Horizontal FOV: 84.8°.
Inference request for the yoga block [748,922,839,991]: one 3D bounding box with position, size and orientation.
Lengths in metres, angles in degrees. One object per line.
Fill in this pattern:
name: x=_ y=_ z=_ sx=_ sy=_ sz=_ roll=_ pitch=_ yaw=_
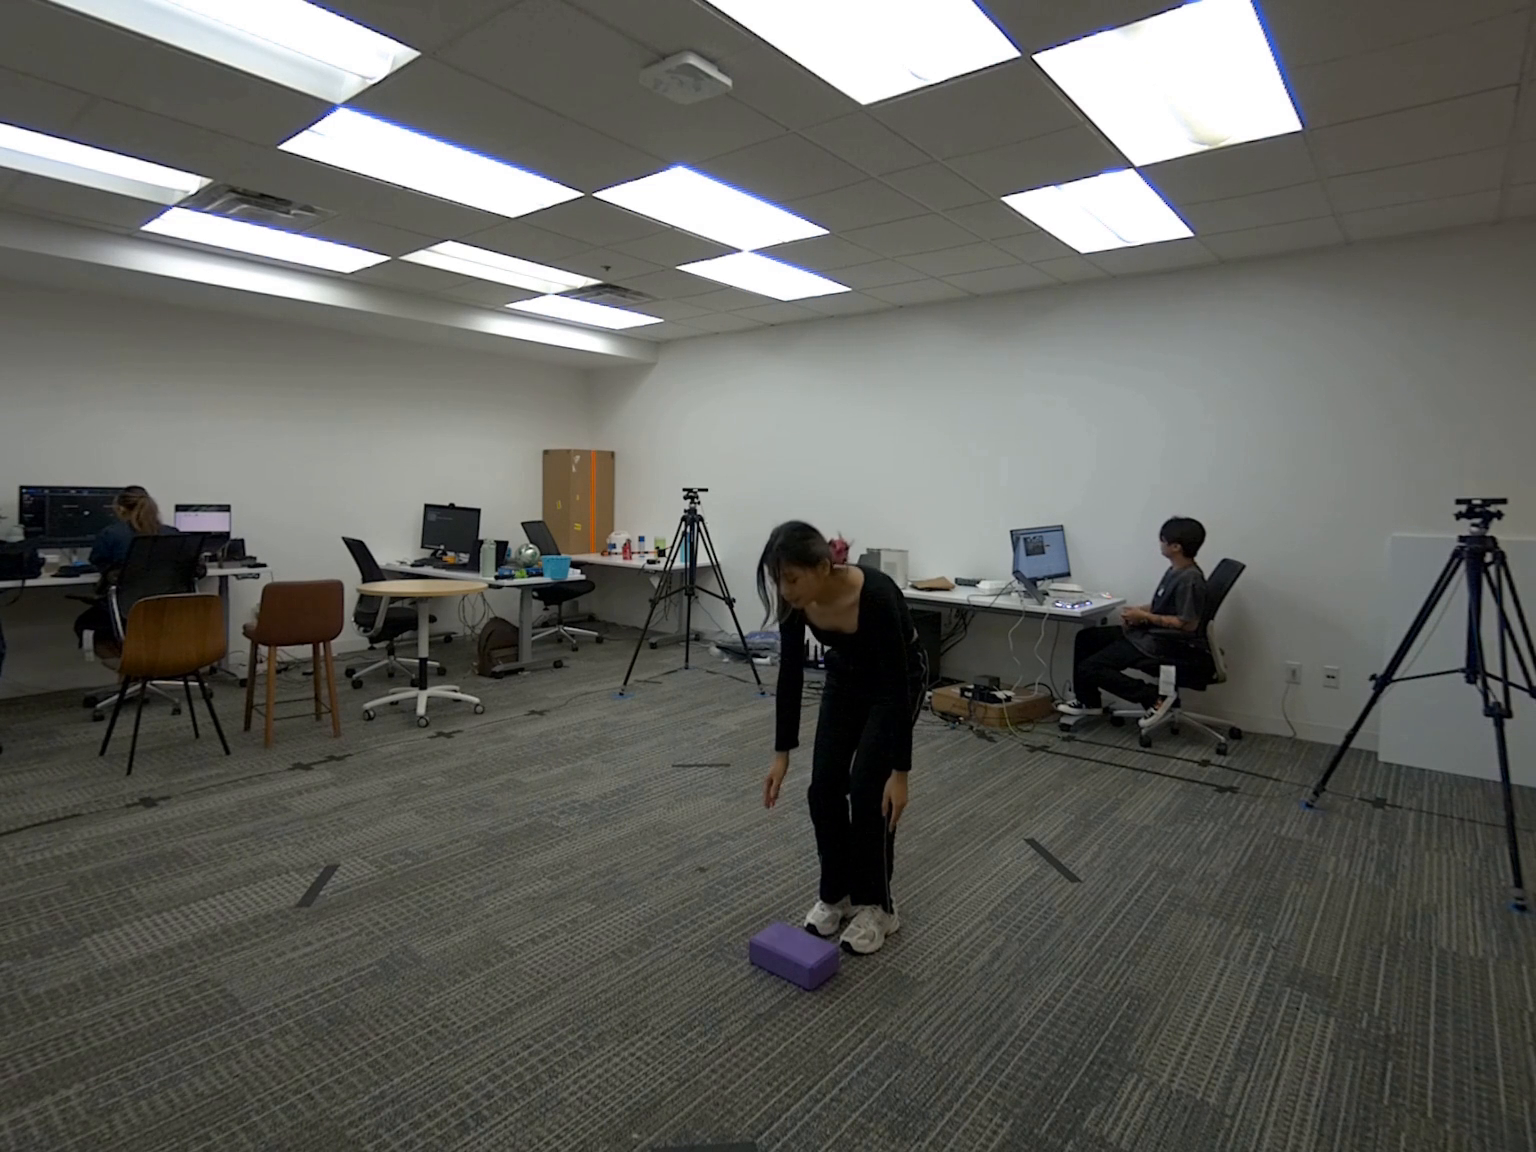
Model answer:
yoga block: x=0.071 y=1.096 z=2.479 sx=0.237 sy=0.076 sz=0.145 roll=5 pitch=8 yaw=40
